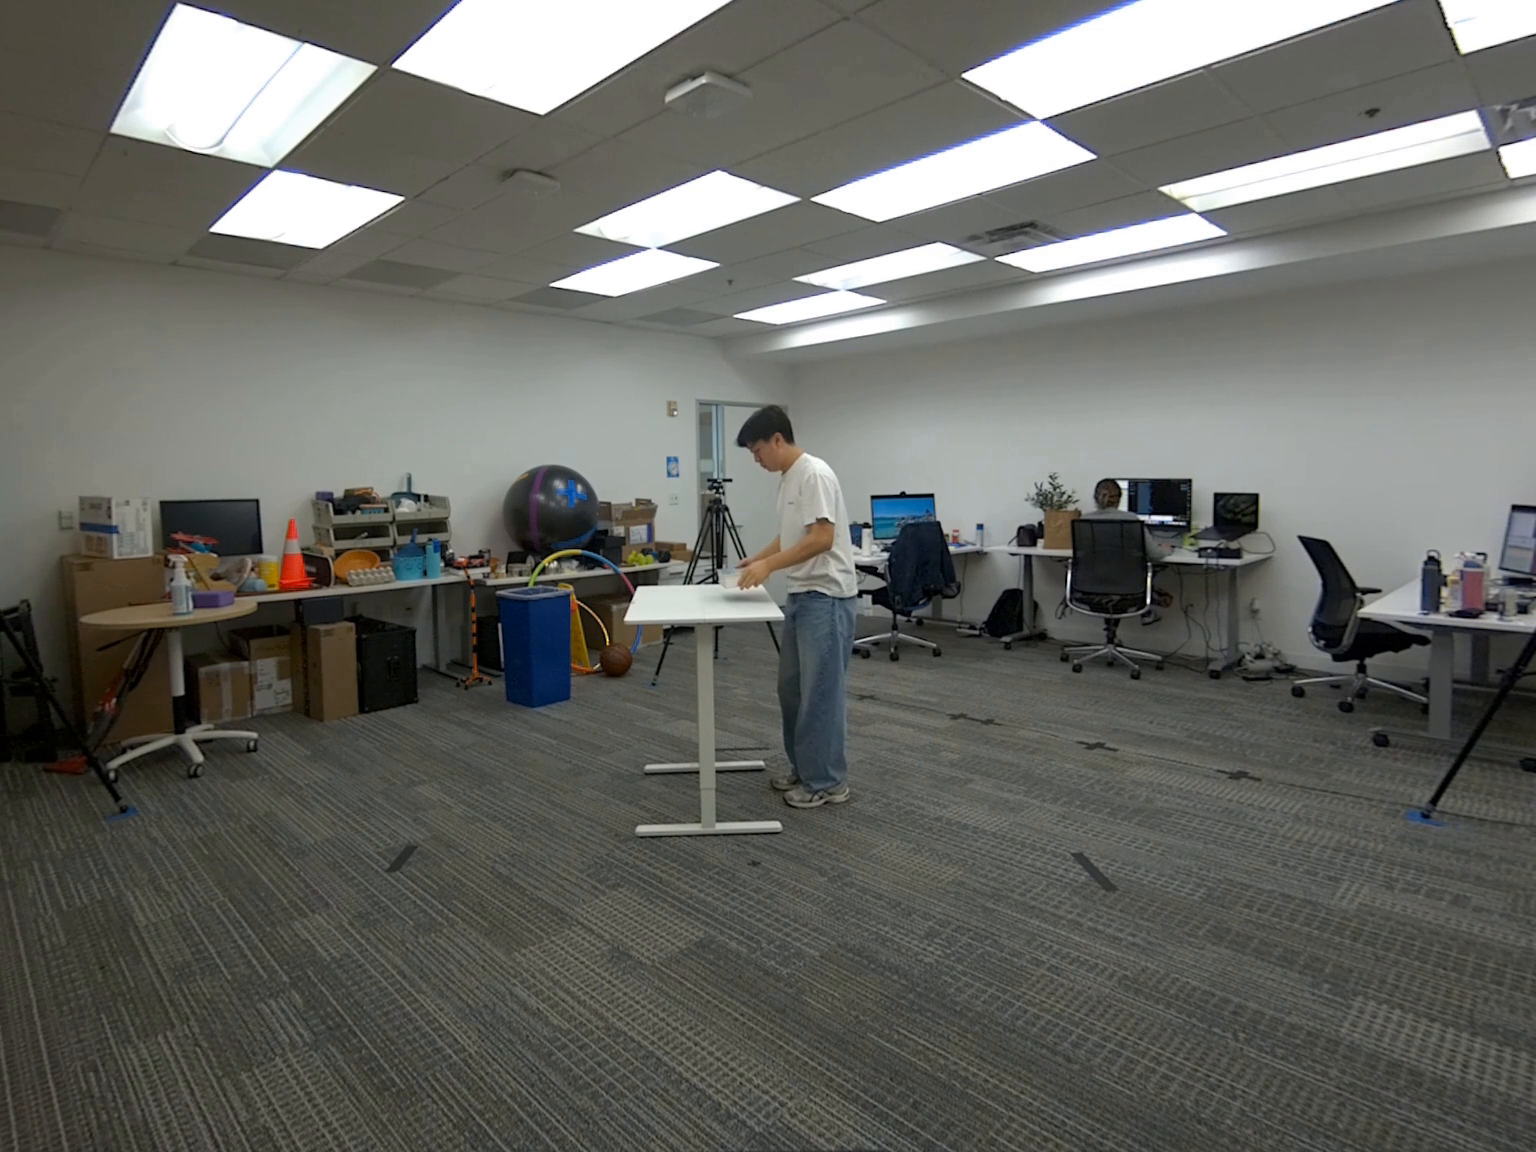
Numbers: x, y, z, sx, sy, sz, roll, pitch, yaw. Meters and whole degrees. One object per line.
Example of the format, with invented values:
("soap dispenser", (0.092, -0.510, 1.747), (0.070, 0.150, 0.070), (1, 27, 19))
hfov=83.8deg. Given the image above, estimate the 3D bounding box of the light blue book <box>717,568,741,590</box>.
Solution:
("light blue book", (-0.108, 0.001, 3.699), (0.191, 0.059, 0.263), (-3, 6, -4))
